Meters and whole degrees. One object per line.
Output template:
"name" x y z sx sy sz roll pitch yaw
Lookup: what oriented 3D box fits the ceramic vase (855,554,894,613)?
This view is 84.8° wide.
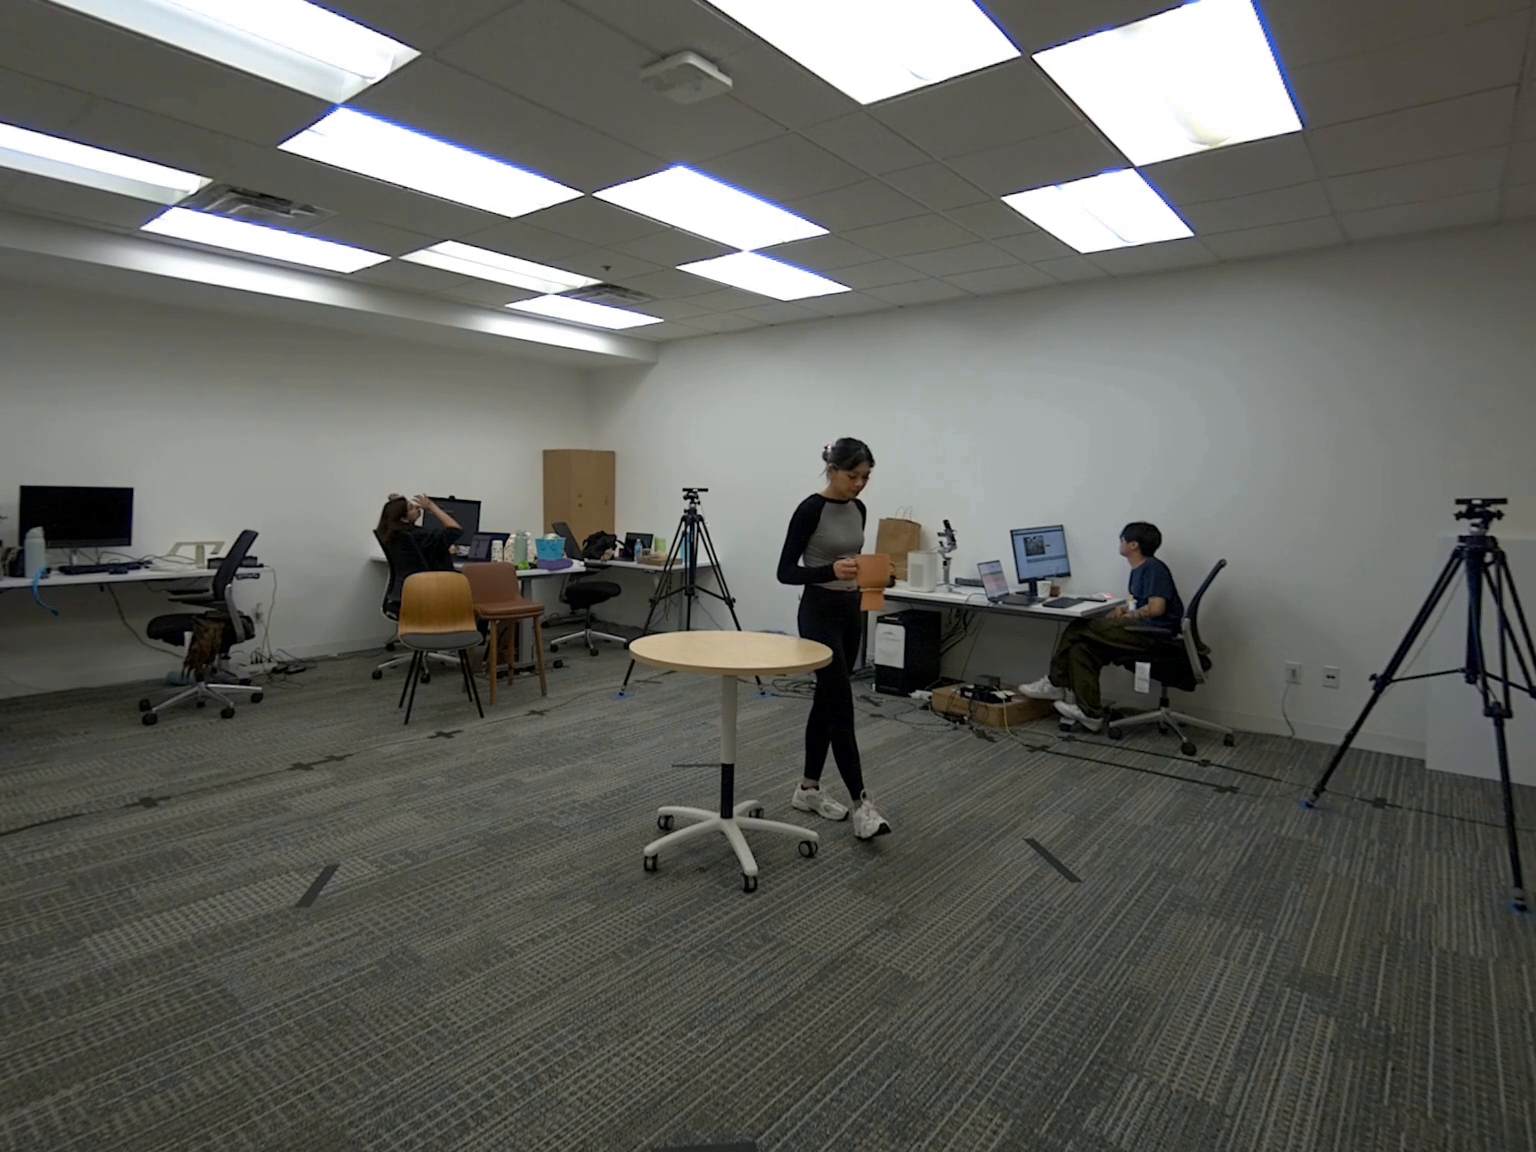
"ceramic vase" 0.407 0.022 3.367 0.163 0.221 0.130 -1 -5 28
